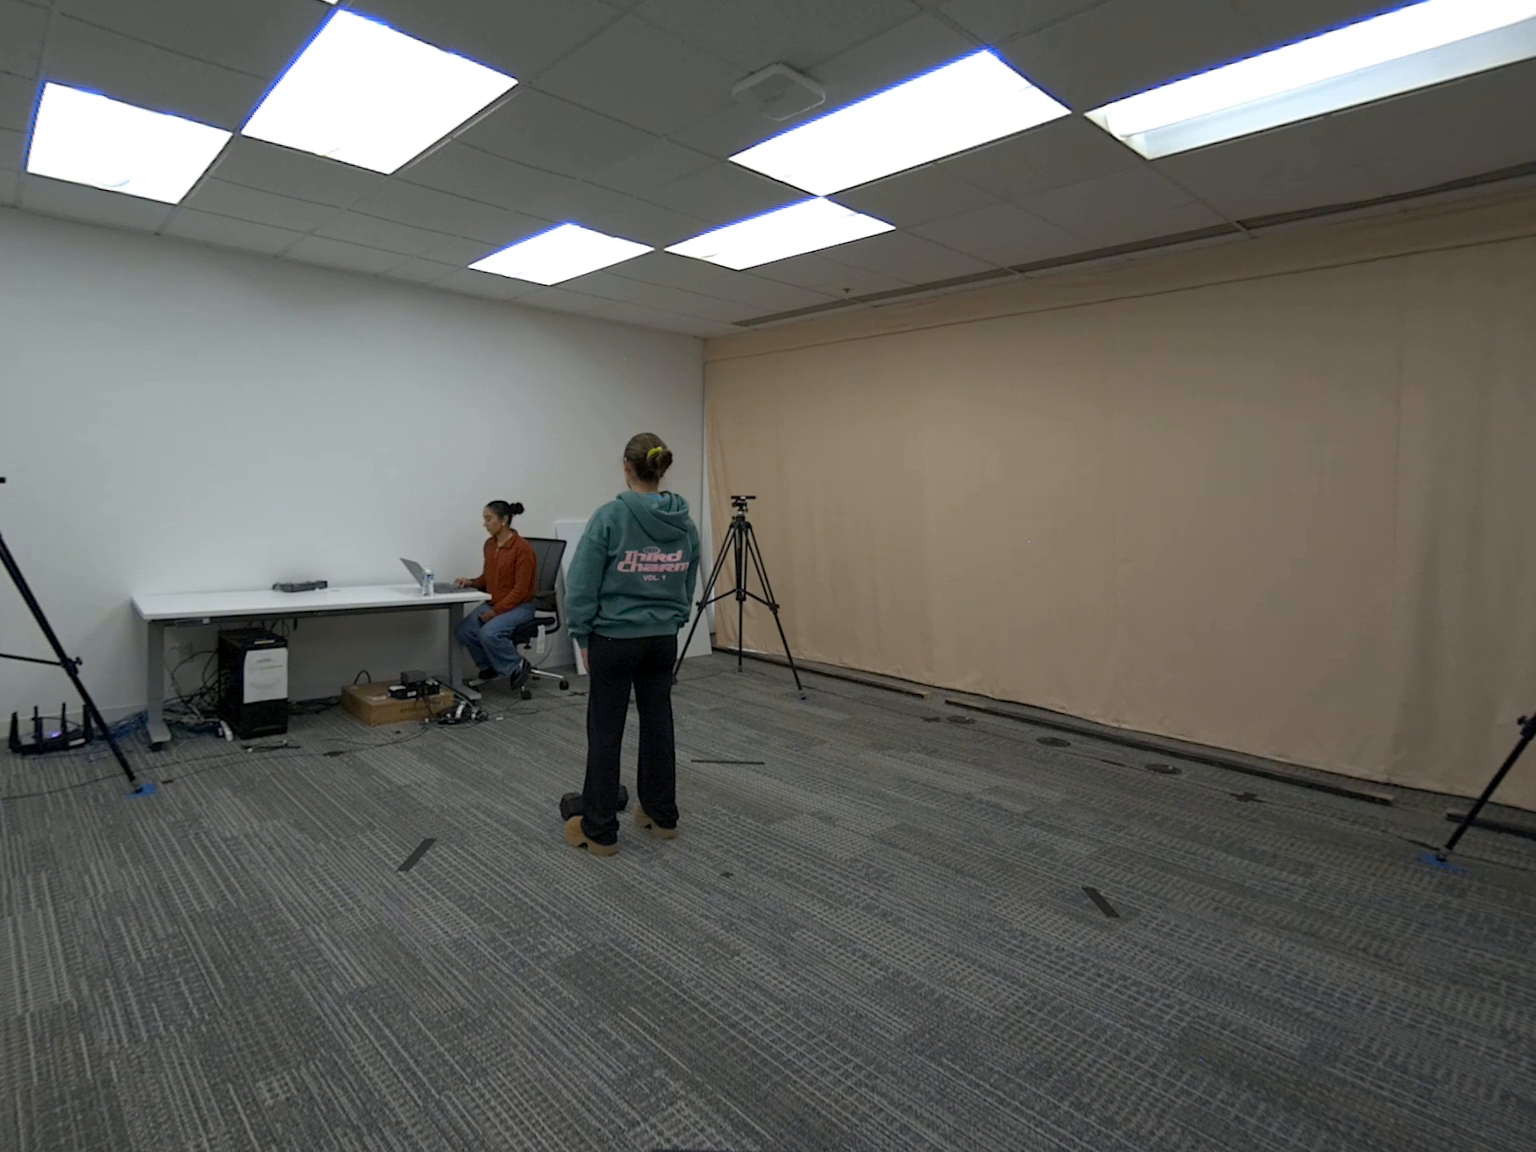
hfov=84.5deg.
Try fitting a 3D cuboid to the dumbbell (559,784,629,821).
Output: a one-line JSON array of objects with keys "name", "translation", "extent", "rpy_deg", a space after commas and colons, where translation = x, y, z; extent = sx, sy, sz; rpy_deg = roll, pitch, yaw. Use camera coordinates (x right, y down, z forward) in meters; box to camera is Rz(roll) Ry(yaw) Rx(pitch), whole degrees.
[{"name": "dumbbell", "translation": [-0.760, 0.983, 3.661], "extent": [0.287, 0.125, 0.109], "rpy_deg": [-3, -26, -40]}]
